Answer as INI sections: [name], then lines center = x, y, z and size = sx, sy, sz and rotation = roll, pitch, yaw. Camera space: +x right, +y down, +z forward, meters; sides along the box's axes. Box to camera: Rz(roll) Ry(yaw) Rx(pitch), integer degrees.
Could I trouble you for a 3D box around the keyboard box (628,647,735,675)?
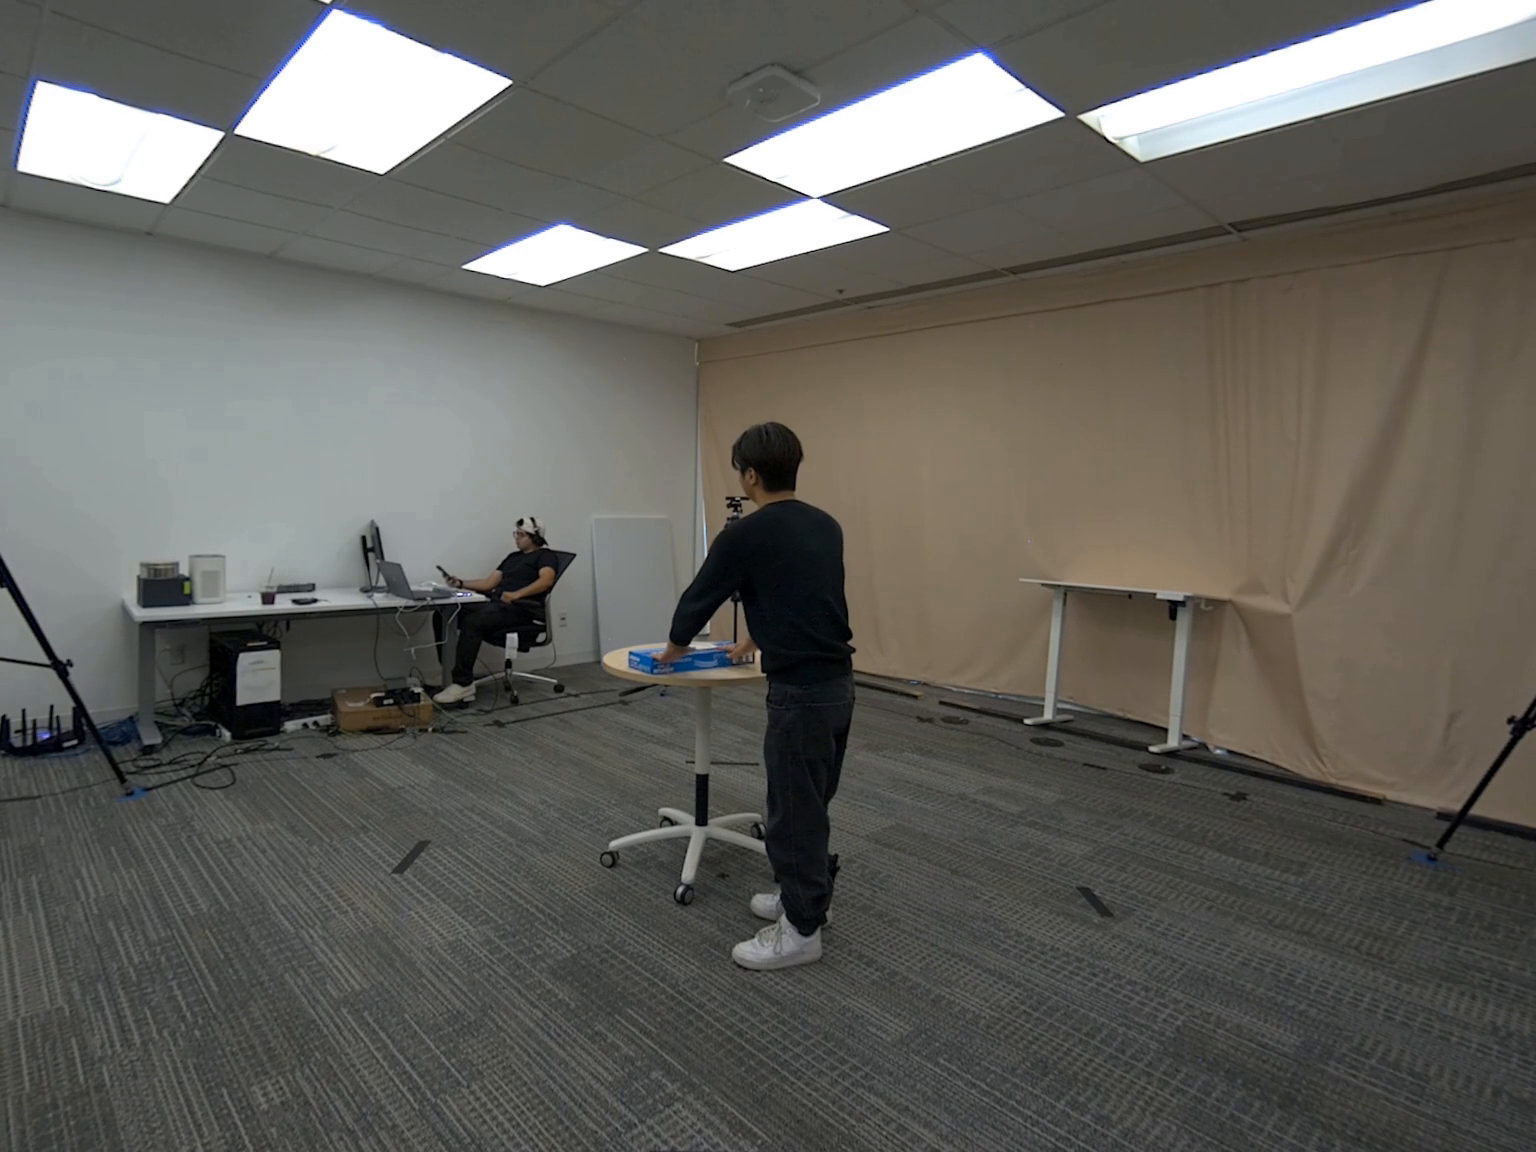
[keyboard box]
center = -0.295, 0.296, 3.050
size = 0.427, 0.059, 0.180
rotation = -3, 7, -38
